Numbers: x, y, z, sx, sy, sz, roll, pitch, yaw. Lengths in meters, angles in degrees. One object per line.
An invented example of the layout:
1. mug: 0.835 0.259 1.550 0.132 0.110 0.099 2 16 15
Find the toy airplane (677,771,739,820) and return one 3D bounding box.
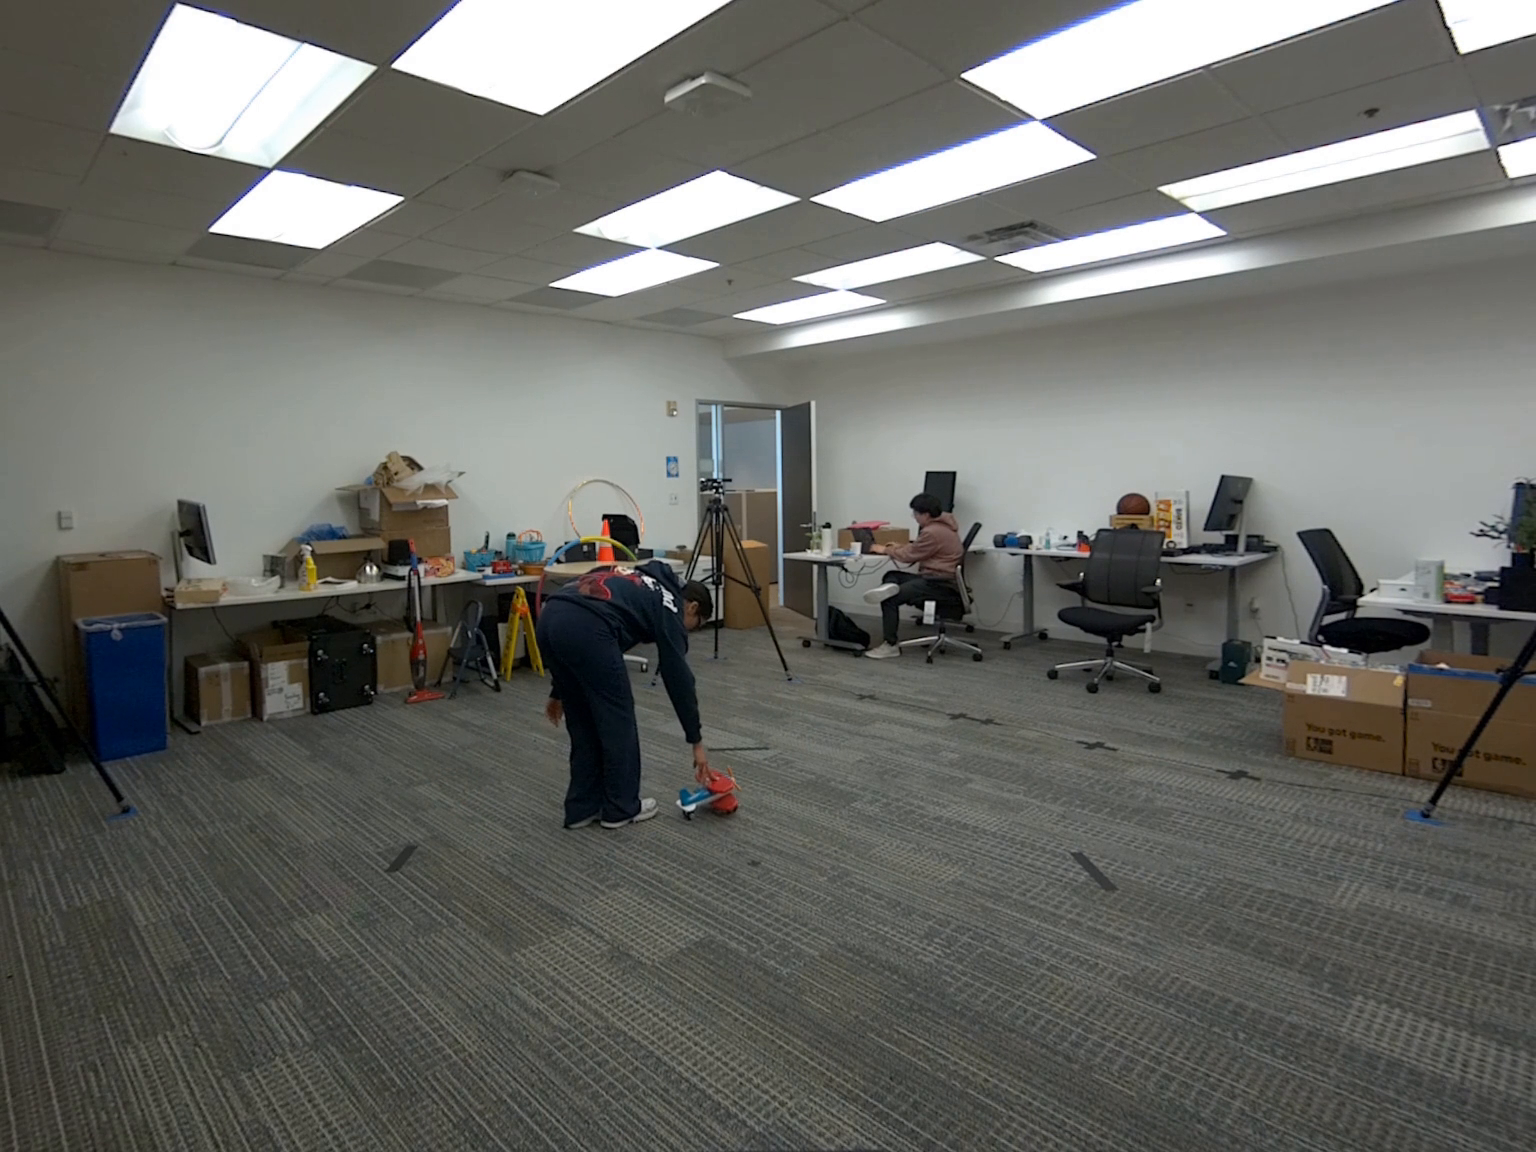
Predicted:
1. toy airplane: -0.243 0.918 3.559 0.258 0.156 0.253 1 4 30
